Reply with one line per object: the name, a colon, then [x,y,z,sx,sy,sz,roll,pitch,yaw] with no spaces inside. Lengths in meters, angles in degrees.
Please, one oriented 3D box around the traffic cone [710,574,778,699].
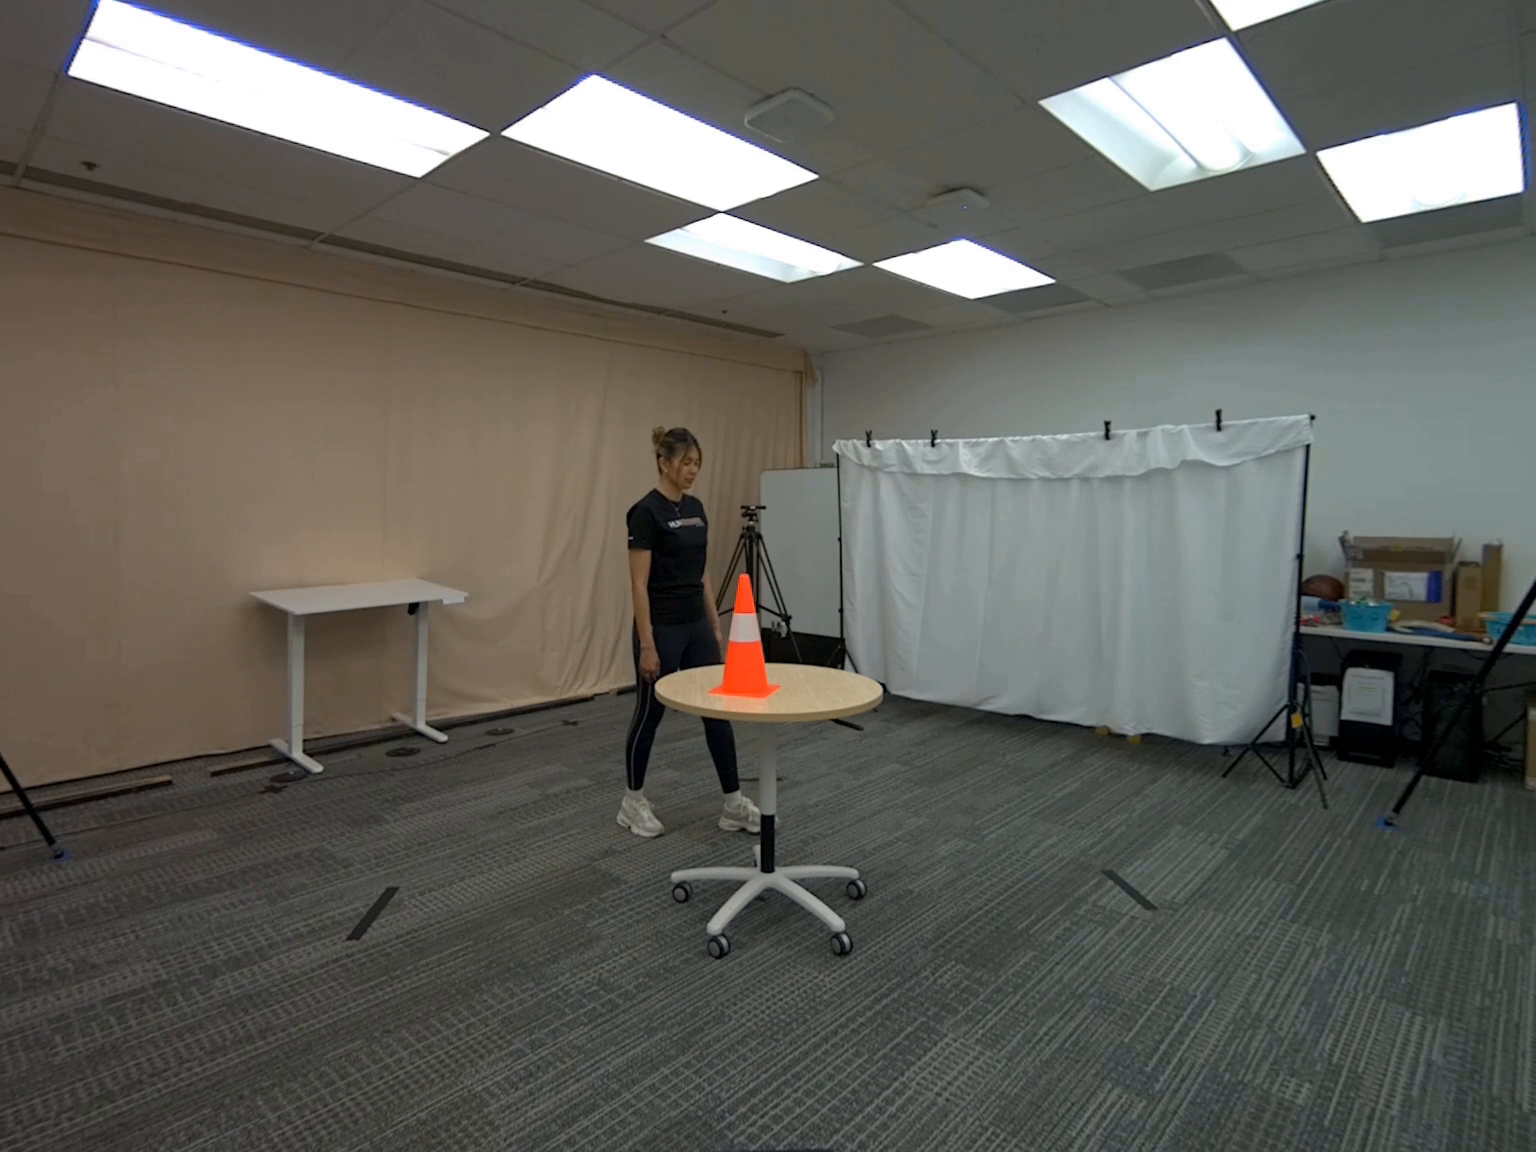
traffic cone: [-0.067,0.189,2.782,0.208,0.383,0.200,2,1,24]
